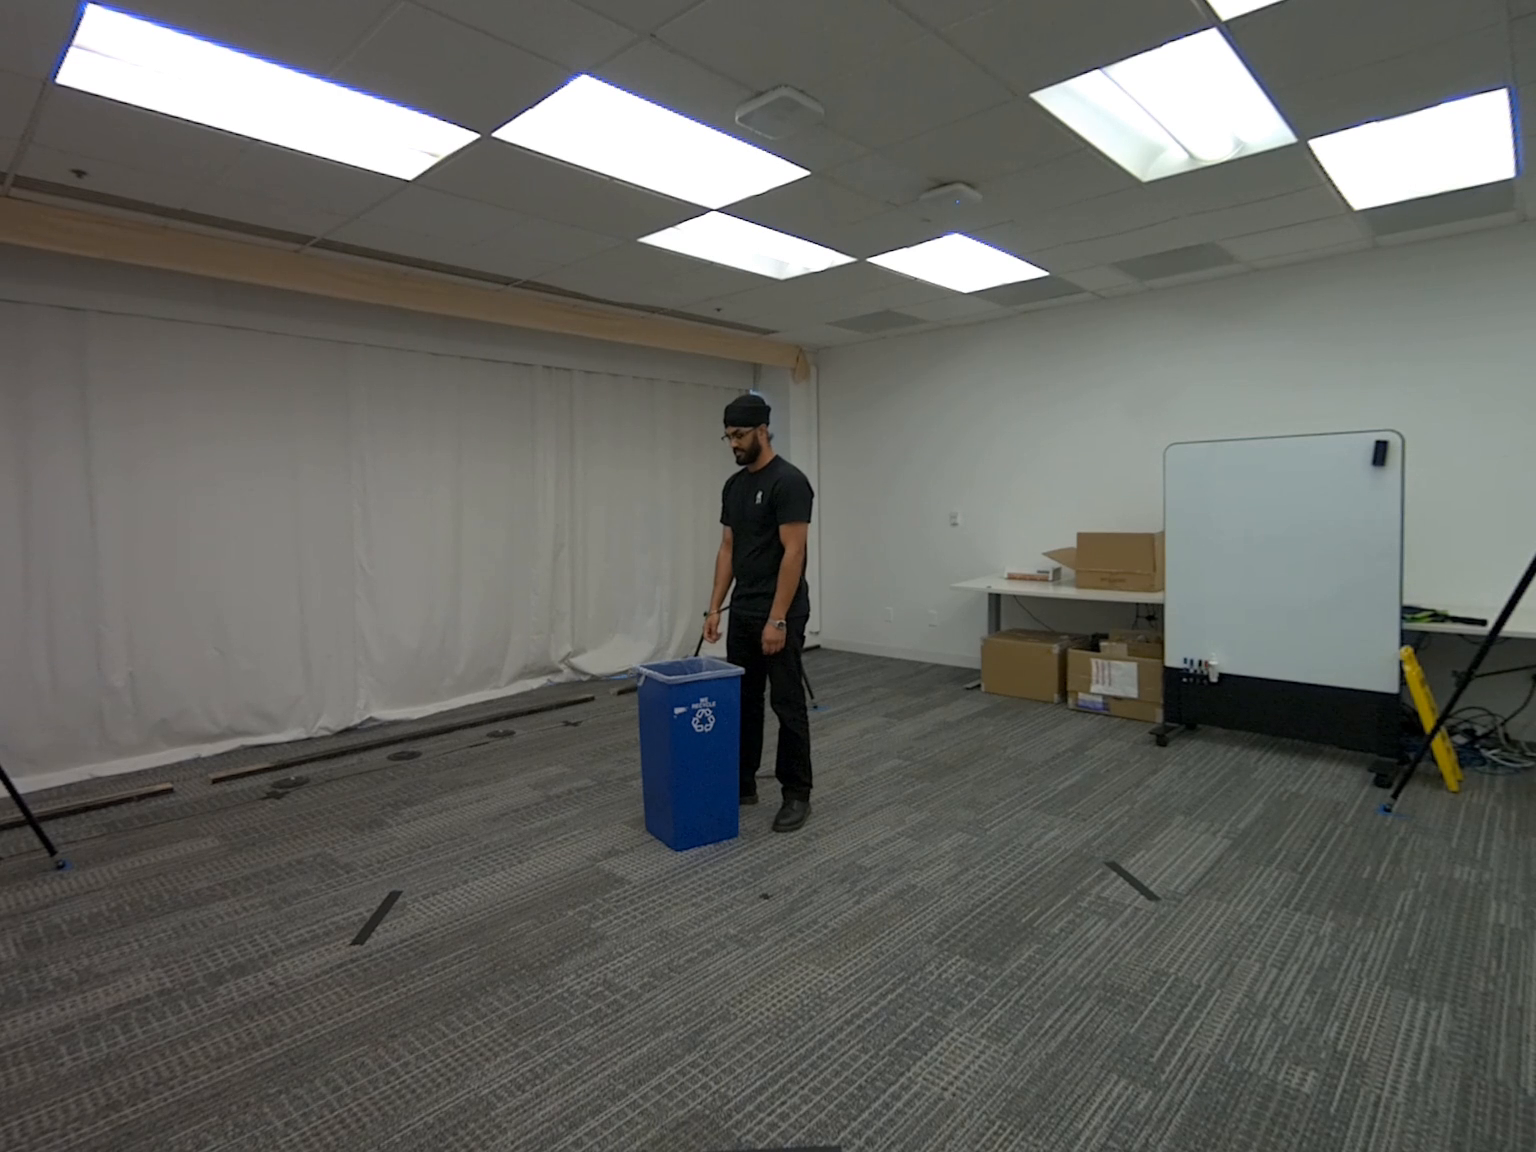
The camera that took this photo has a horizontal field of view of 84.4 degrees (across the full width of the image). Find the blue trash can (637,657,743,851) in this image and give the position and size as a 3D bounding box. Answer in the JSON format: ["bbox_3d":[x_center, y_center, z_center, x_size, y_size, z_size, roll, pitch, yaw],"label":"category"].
[{"bbox_3d":[-0.328,0.733,3.568,0.364,0.712,0.389,-3,4,-32],"label":"blue trash can"}]
